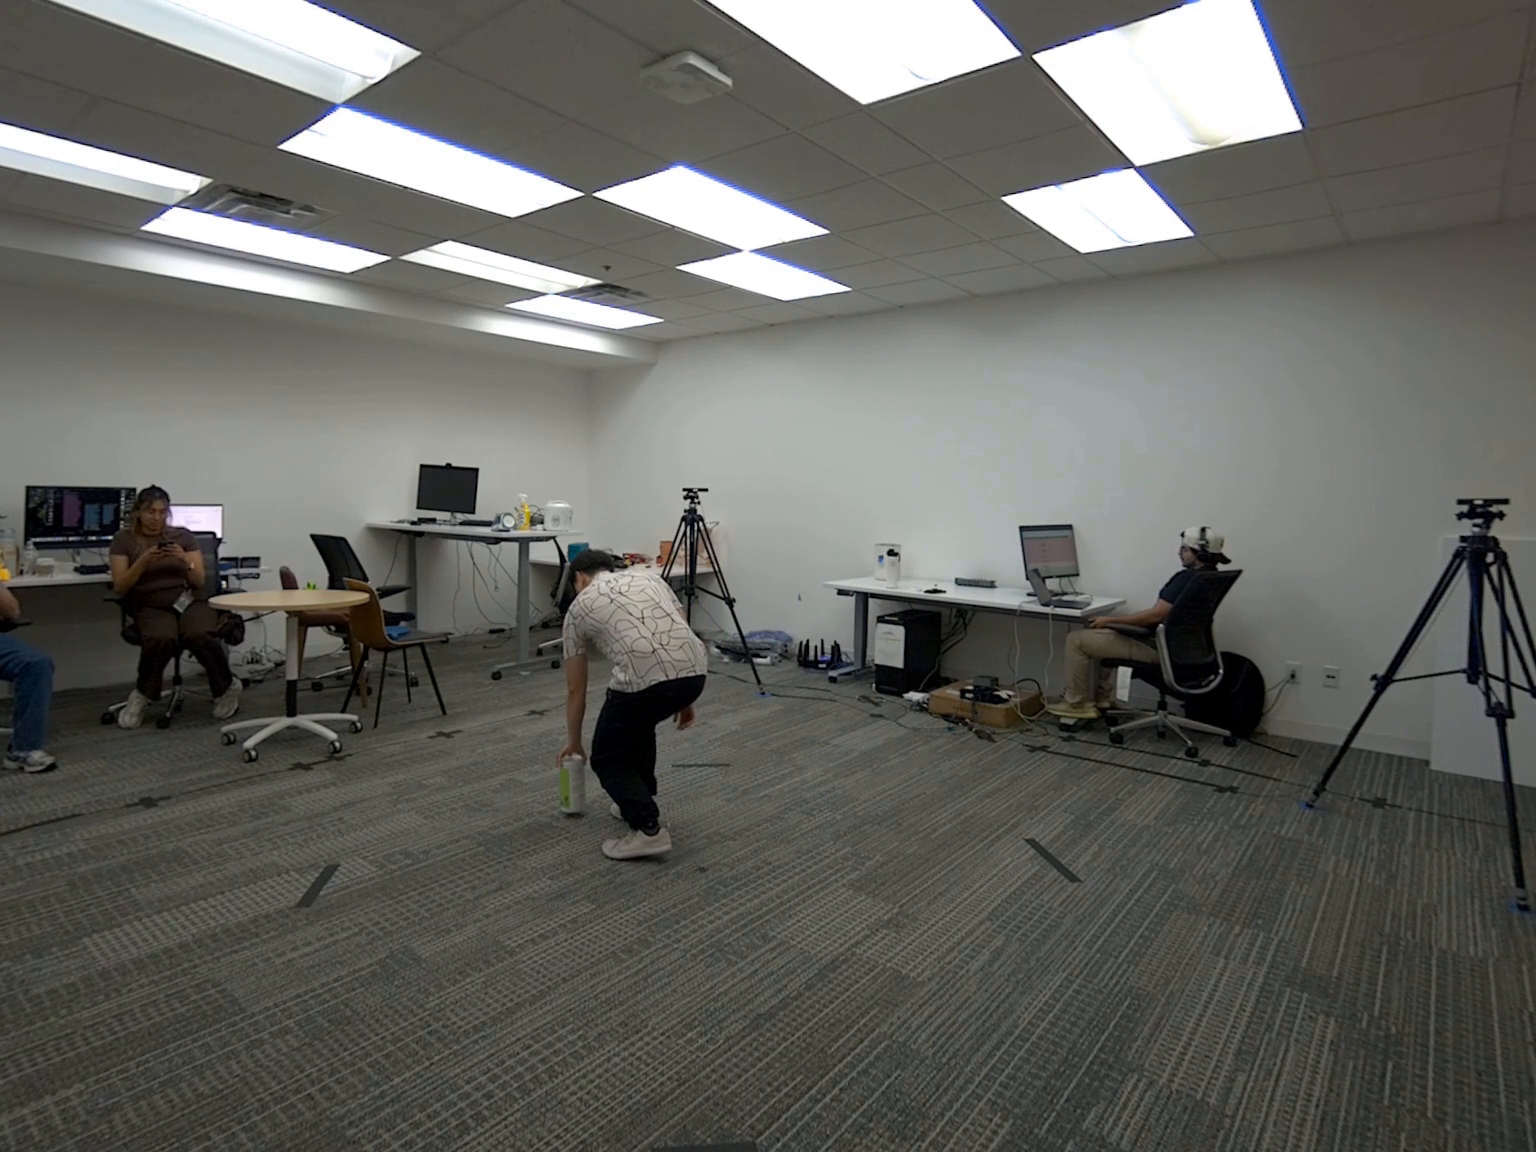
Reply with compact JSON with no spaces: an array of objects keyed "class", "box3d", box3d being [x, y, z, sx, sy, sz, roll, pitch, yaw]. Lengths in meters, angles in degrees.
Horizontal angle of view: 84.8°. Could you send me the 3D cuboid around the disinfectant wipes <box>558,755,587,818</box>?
[{"class":"disinfectant wipes","box3d":[-0.842,0.877,3.621,0.118,0.217,0.118,-2,3,-2]}]
